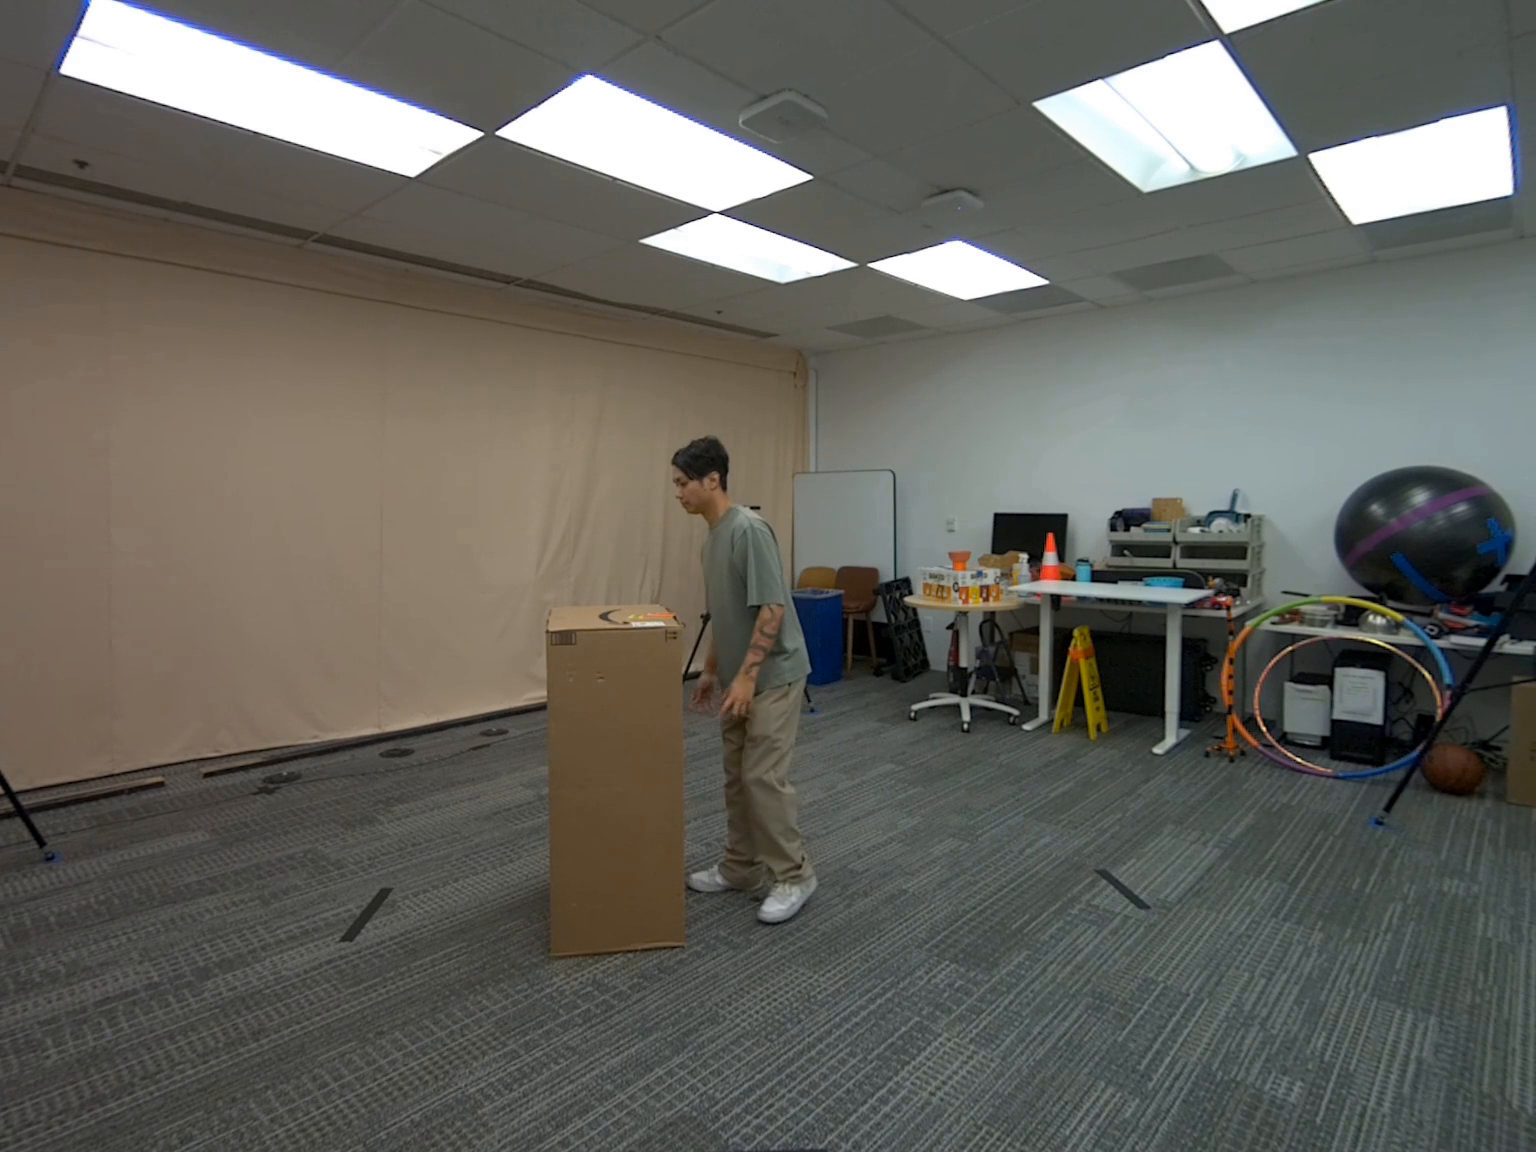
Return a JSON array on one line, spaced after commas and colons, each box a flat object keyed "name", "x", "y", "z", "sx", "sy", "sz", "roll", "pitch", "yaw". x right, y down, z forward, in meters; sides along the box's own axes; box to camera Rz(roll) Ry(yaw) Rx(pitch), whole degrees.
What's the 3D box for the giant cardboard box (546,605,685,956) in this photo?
[{"name": "giant cardboard box", "x": -0.539, "y": 0.648, "z": 2.891, "sx": 0.421, "sy": 1.024, "sz": 0.585, "roll": -1, "pitch": 3, "yaw": -11}]
